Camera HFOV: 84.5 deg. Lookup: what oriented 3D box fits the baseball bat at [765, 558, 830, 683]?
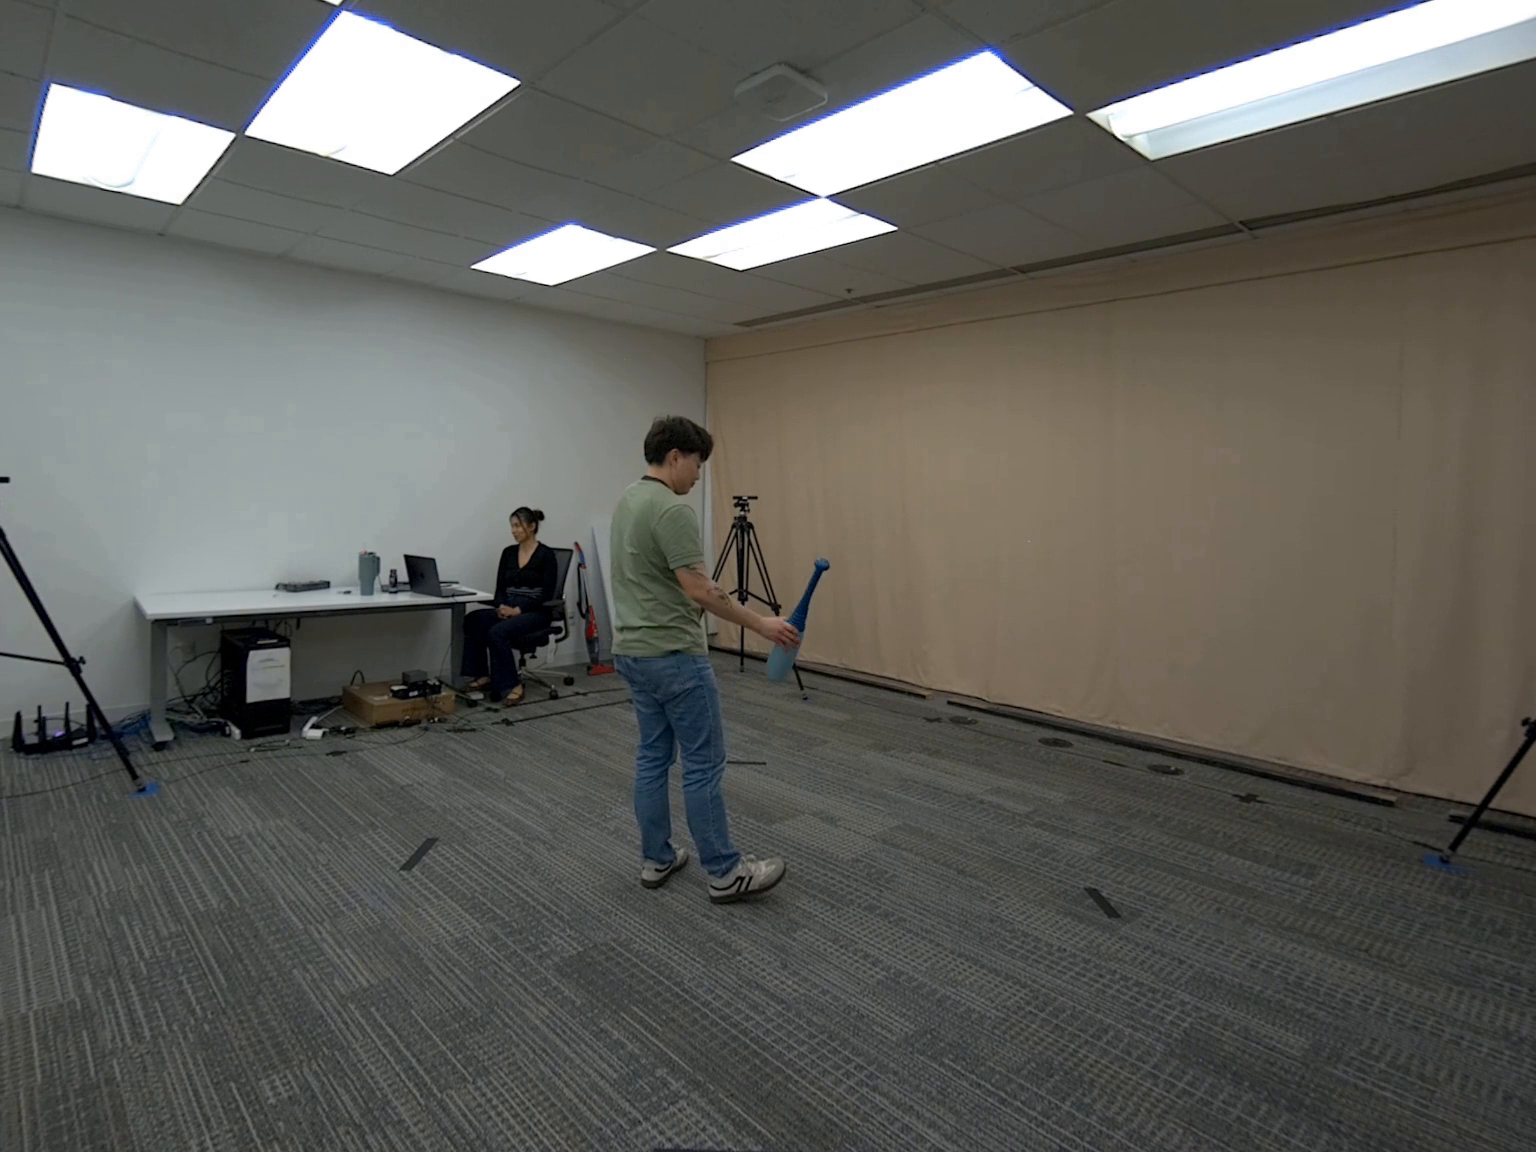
[{"bbox_3d":[0.089,0.156,2.801,0.088,0.536,0.091,12,38,-11],"label":"baseball bat"}]
